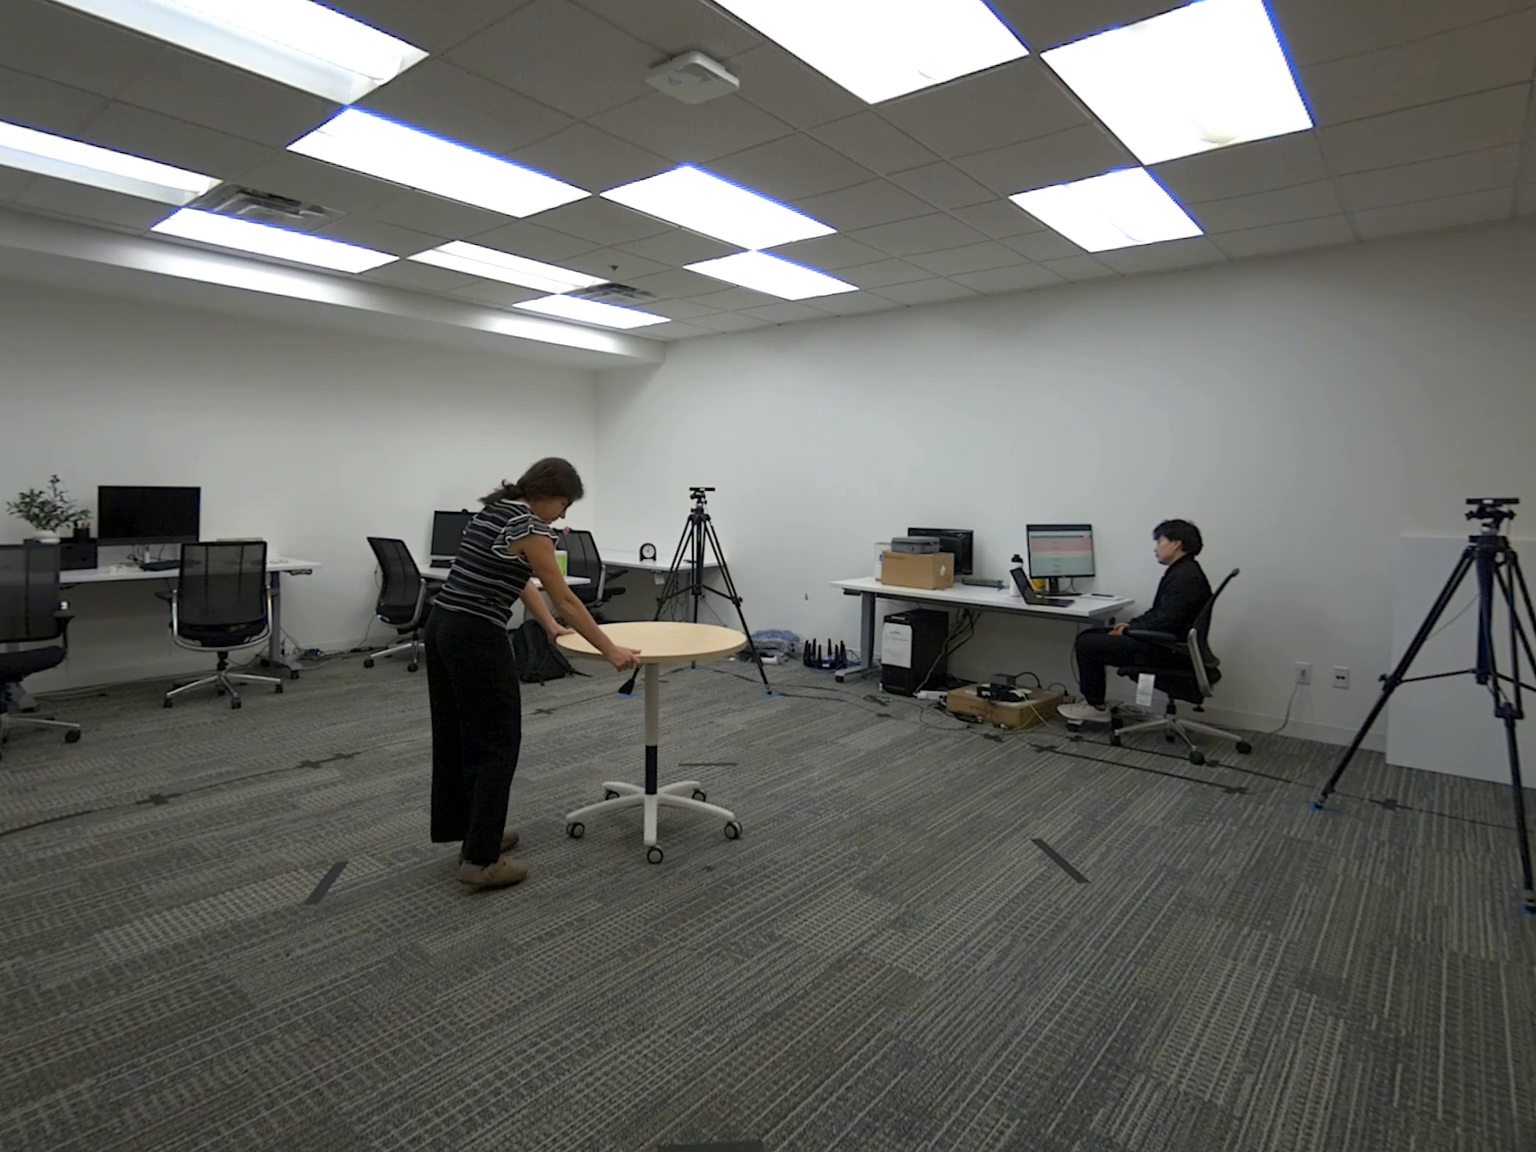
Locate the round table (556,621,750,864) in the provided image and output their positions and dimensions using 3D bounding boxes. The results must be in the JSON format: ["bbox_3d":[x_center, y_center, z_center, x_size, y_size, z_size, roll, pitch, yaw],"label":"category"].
[{"bbox_3d":[-0.477,0.639,3.469,0.763,0.791,0.768,0,4,-2],"label":"round table"}]
